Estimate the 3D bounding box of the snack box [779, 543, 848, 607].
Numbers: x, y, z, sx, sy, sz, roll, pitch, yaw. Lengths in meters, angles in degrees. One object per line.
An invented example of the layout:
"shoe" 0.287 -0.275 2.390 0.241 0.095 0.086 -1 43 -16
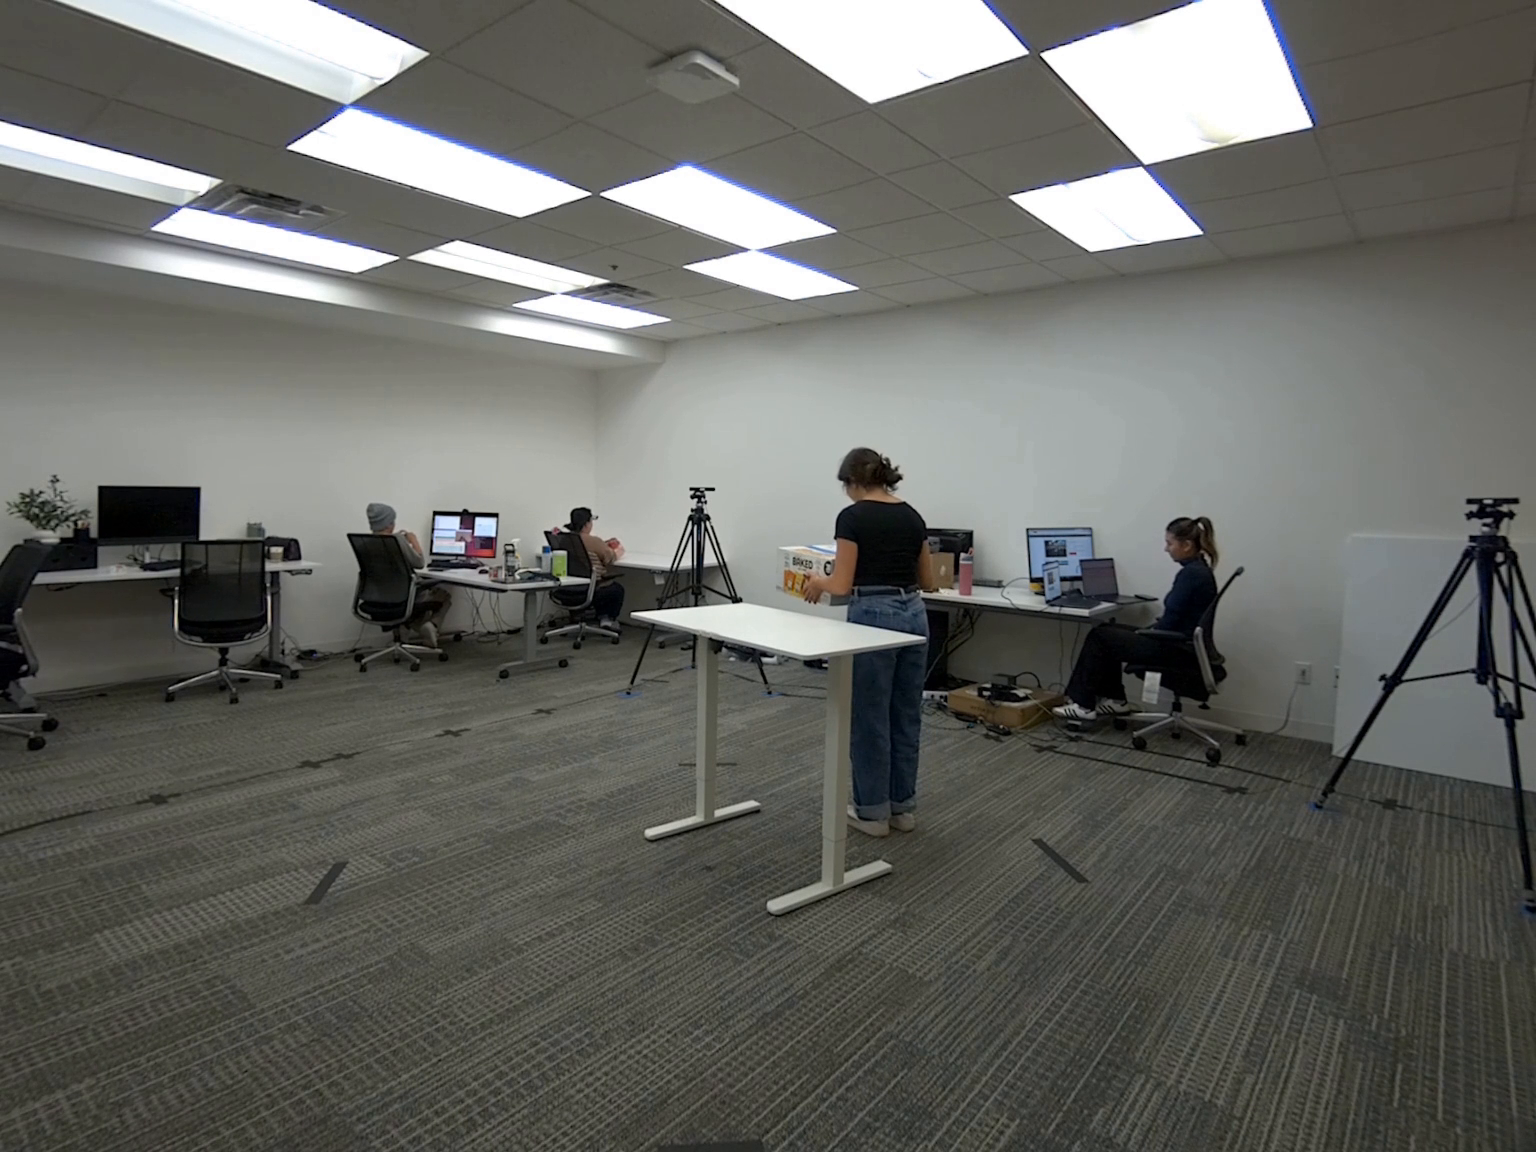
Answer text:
"snack box" 0.282 -0.014 3.815 0.331 0.204 0.419 -4 10 -32
